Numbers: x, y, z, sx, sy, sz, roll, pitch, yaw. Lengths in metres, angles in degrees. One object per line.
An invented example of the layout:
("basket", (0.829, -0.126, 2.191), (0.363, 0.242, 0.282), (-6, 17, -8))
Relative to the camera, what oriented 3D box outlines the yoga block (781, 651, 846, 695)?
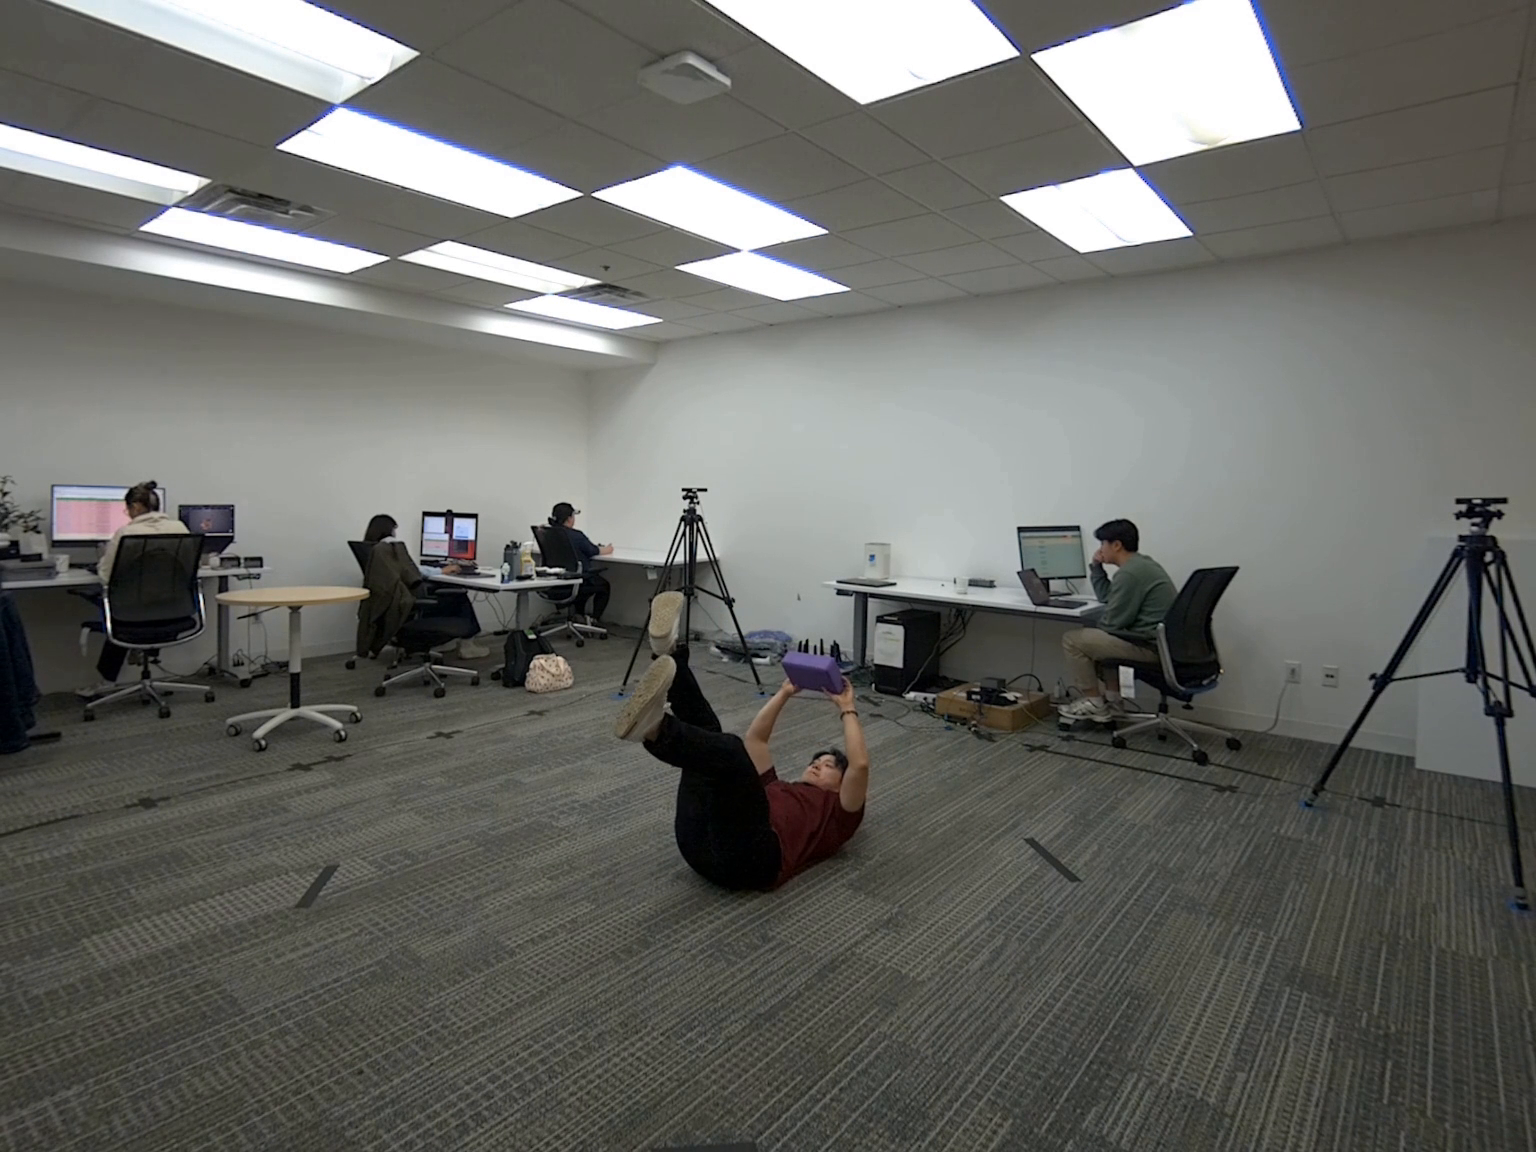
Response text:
("yoga block", (0.159, 0.378, 3.396), (0.237, 0.144, 0.076), (5, 44, 39))
